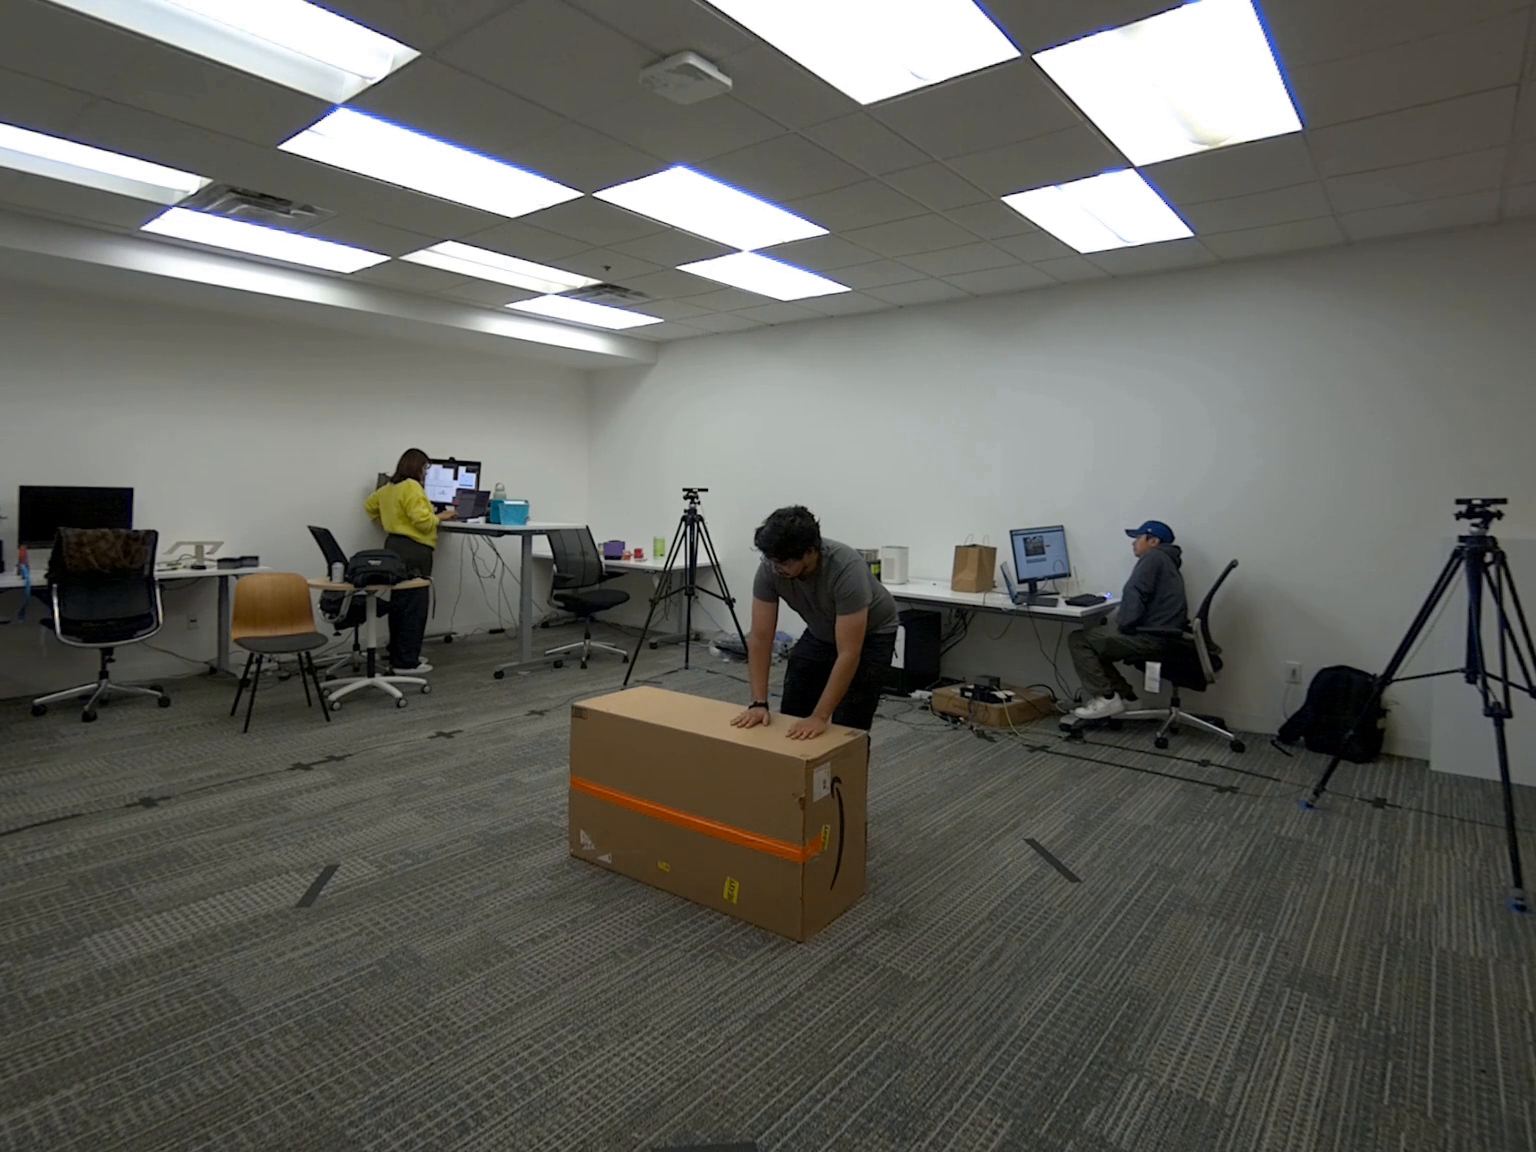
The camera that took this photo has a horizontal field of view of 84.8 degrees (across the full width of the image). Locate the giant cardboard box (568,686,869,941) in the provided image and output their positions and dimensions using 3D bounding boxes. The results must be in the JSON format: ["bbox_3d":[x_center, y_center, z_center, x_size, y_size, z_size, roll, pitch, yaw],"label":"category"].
[{"bbox_3d":[-0.214,0.786,3.055,1.059,0.576,0.414,5,5,35],"label":"giant cardboard box"}]
